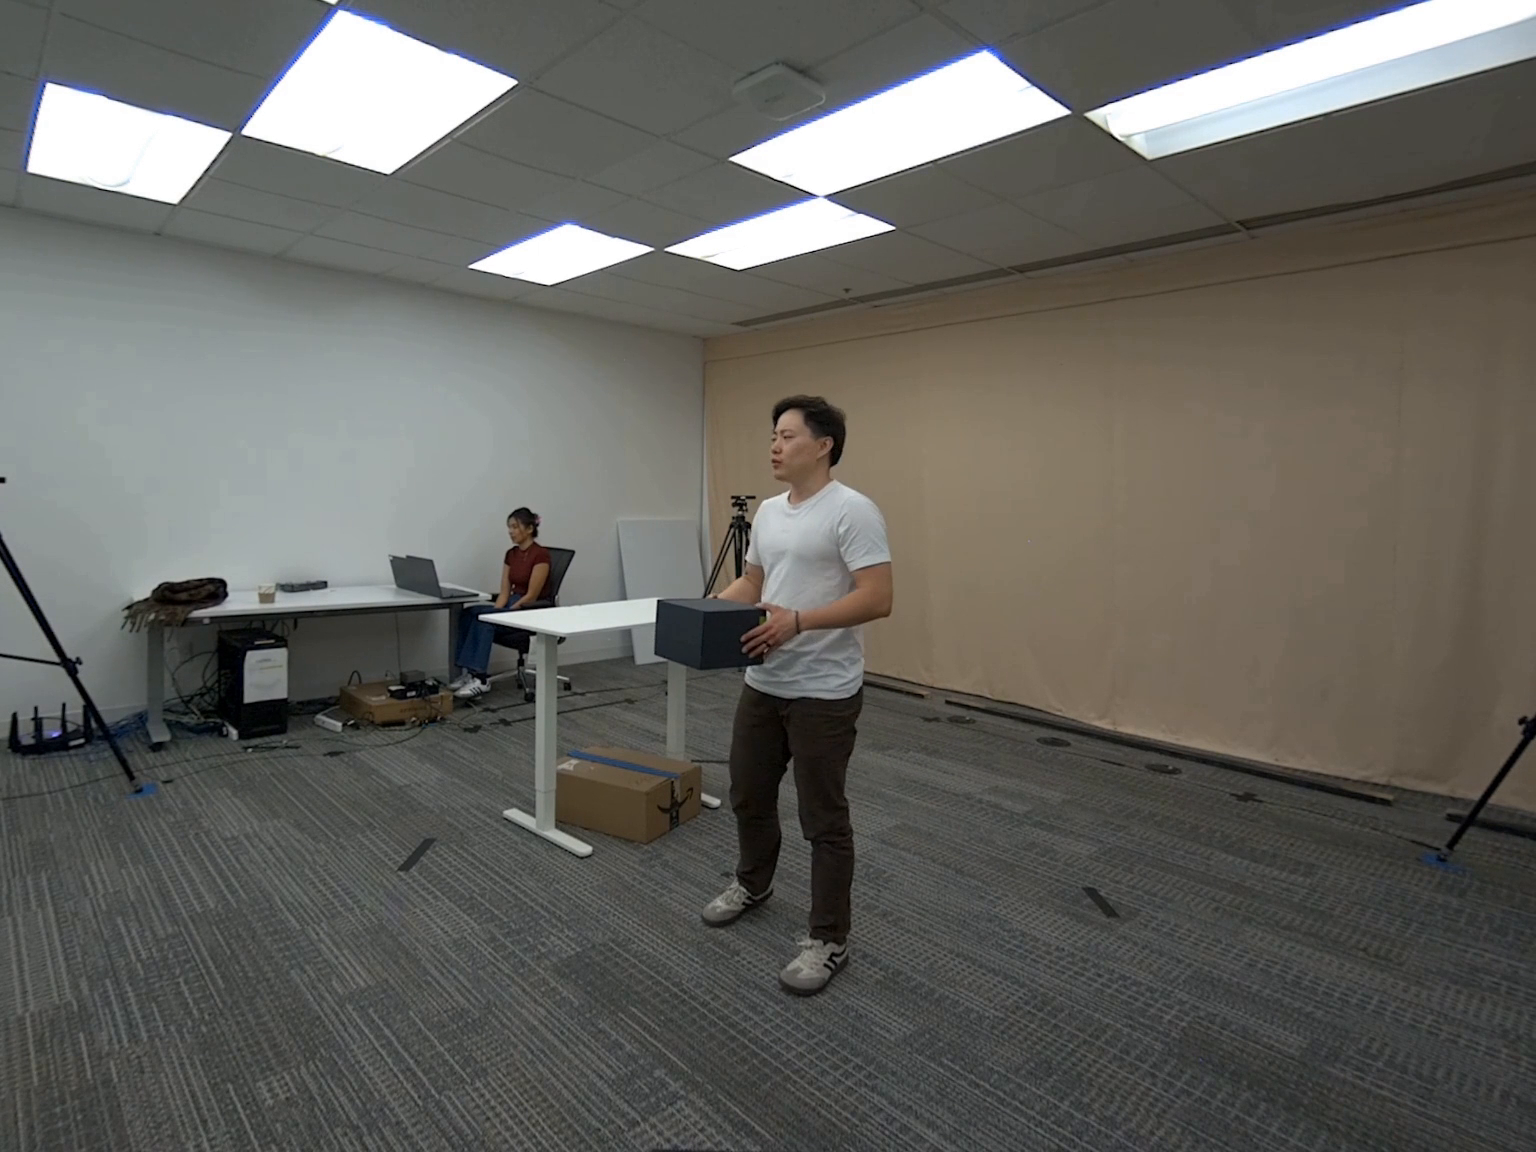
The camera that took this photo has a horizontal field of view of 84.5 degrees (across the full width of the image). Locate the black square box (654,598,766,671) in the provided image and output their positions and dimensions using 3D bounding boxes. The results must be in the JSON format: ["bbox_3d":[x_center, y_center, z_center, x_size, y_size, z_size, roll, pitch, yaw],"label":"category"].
[{"bbox_3d":[-0.162,0.157,2.314,0.212,0.155,0.234,1,5,-39],"label":"black square box"}]
